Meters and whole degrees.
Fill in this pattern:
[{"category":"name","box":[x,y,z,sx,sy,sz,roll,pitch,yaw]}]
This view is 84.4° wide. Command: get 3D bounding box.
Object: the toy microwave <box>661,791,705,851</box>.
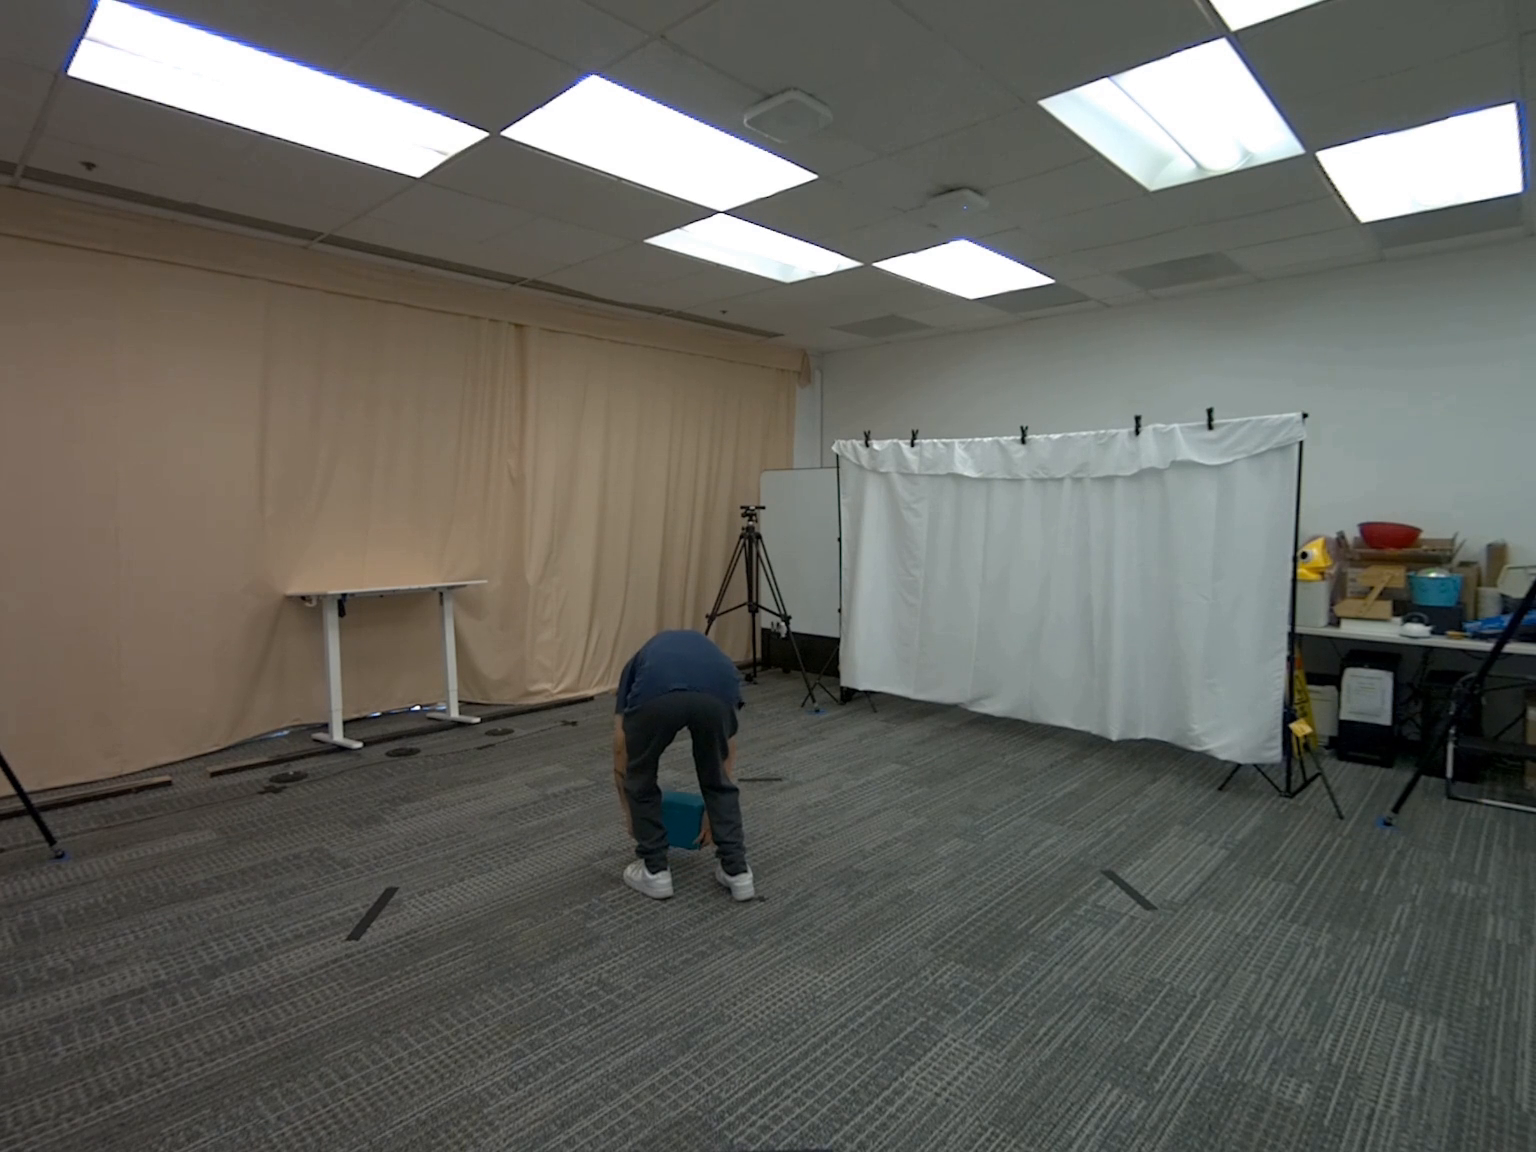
[{"category":"toy microwave","box":[-0.372,0.949,3.307,0.293,0.183,0.149,1,5,22]}]
